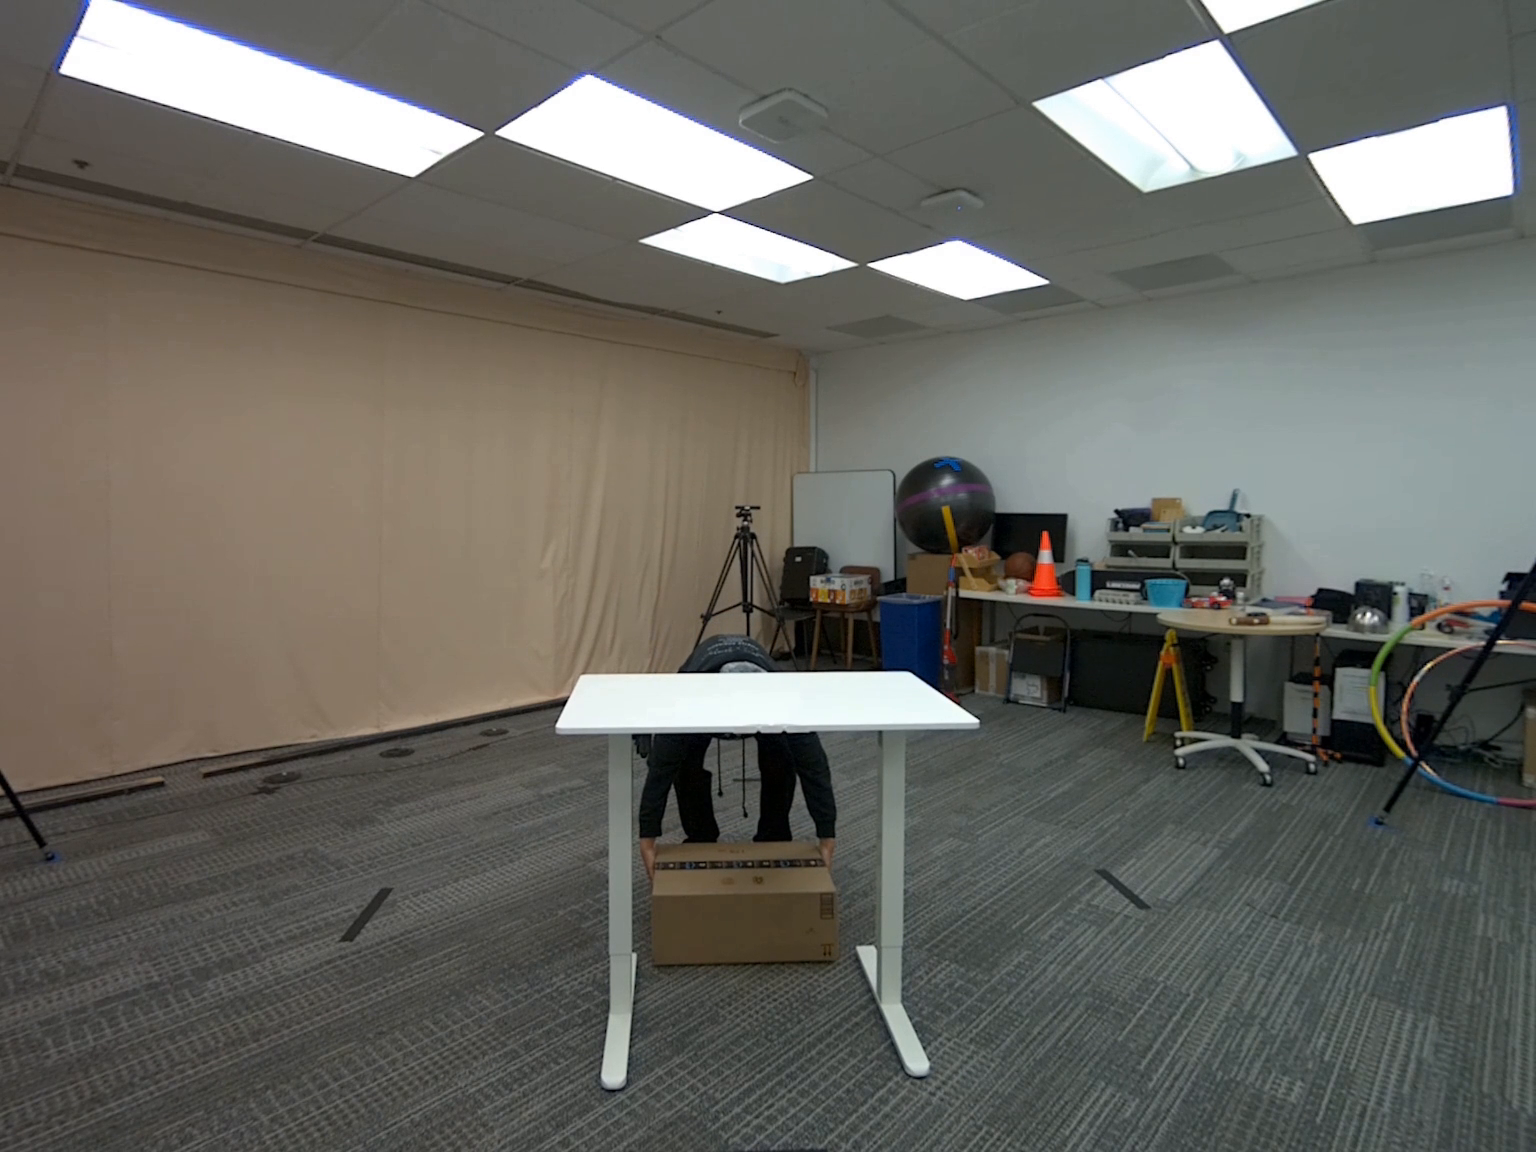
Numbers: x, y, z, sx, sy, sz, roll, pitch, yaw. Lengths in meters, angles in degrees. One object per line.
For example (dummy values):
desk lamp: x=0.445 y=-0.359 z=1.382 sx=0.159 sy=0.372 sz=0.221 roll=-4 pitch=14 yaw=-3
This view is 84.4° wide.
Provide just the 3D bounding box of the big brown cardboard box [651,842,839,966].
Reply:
big brown cardboard box: x=-0.090 y=1.052 z=2.748 sx=0.587 sy=0.233 sz=0.419 roll=-1 pitch=3 yaw=-3
